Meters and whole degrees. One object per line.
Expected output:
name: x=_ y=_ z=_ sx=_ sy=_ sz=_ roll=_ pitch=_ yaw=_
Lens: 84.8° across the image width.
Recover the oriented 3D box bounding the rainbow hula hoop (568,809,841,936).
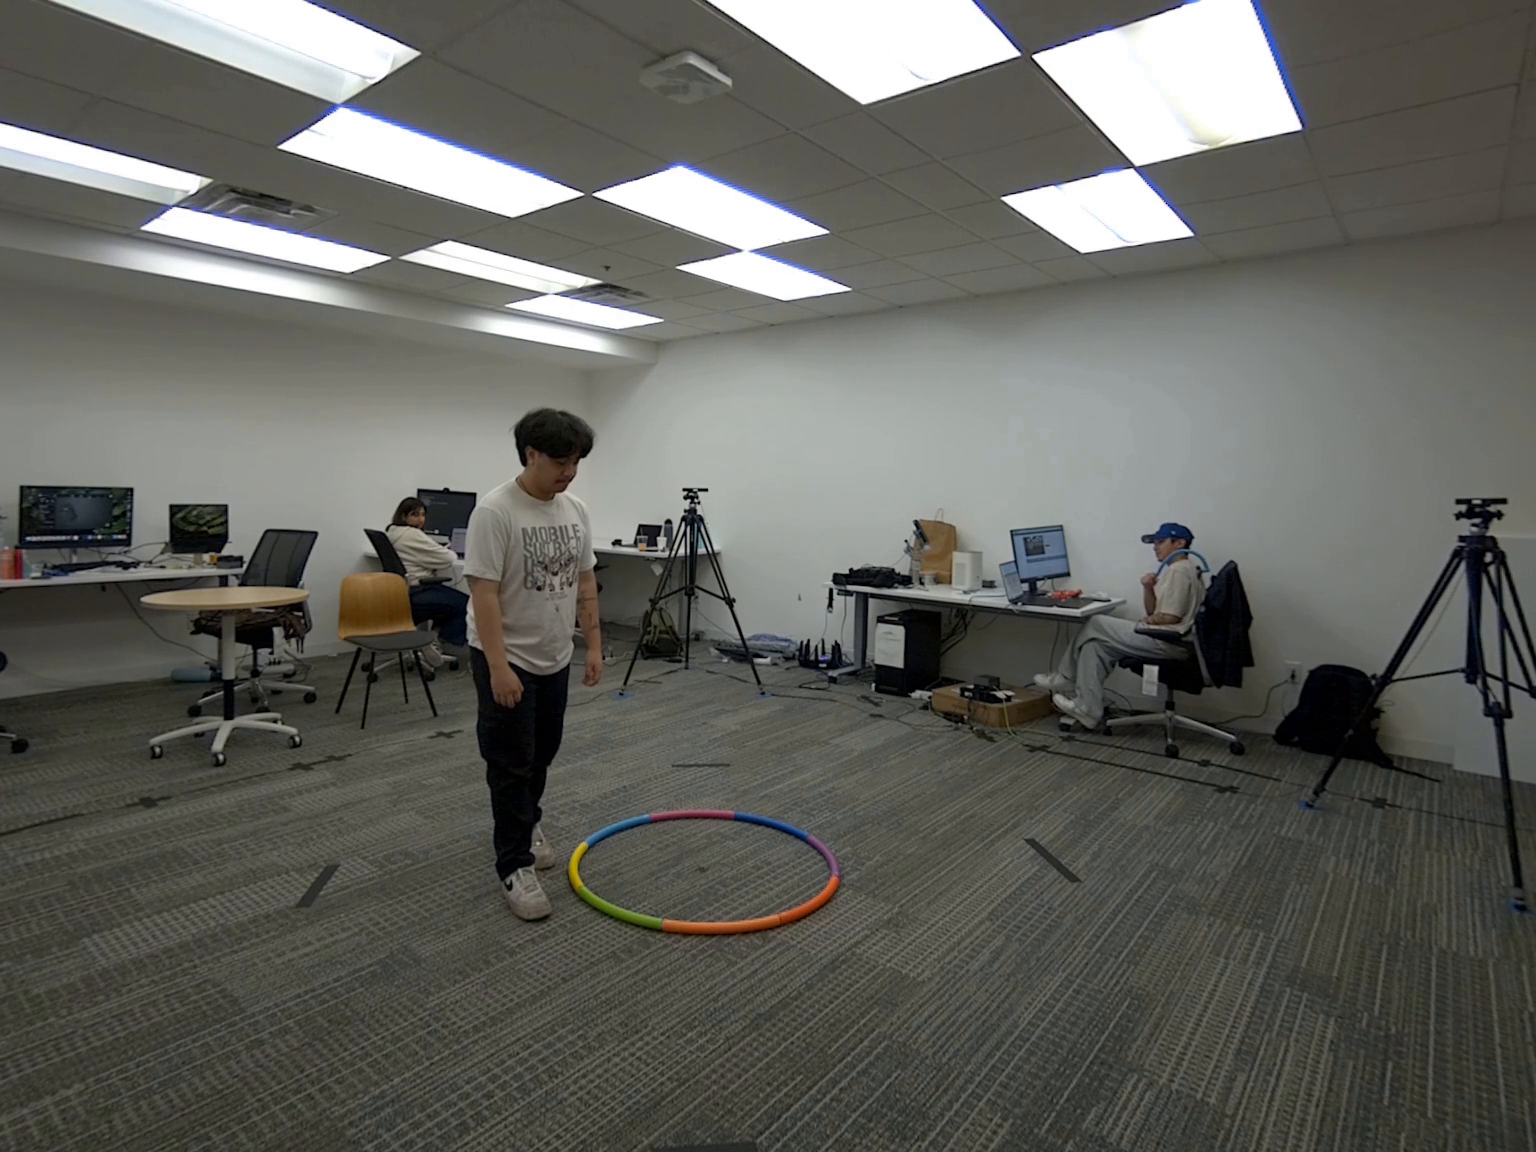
rainbow hula hoop: x=-0.247 y=1.042 z=3.126 sx=0.984 sy=0.051 sz=0.991 roll=1 pitch=6 yaw=-2
